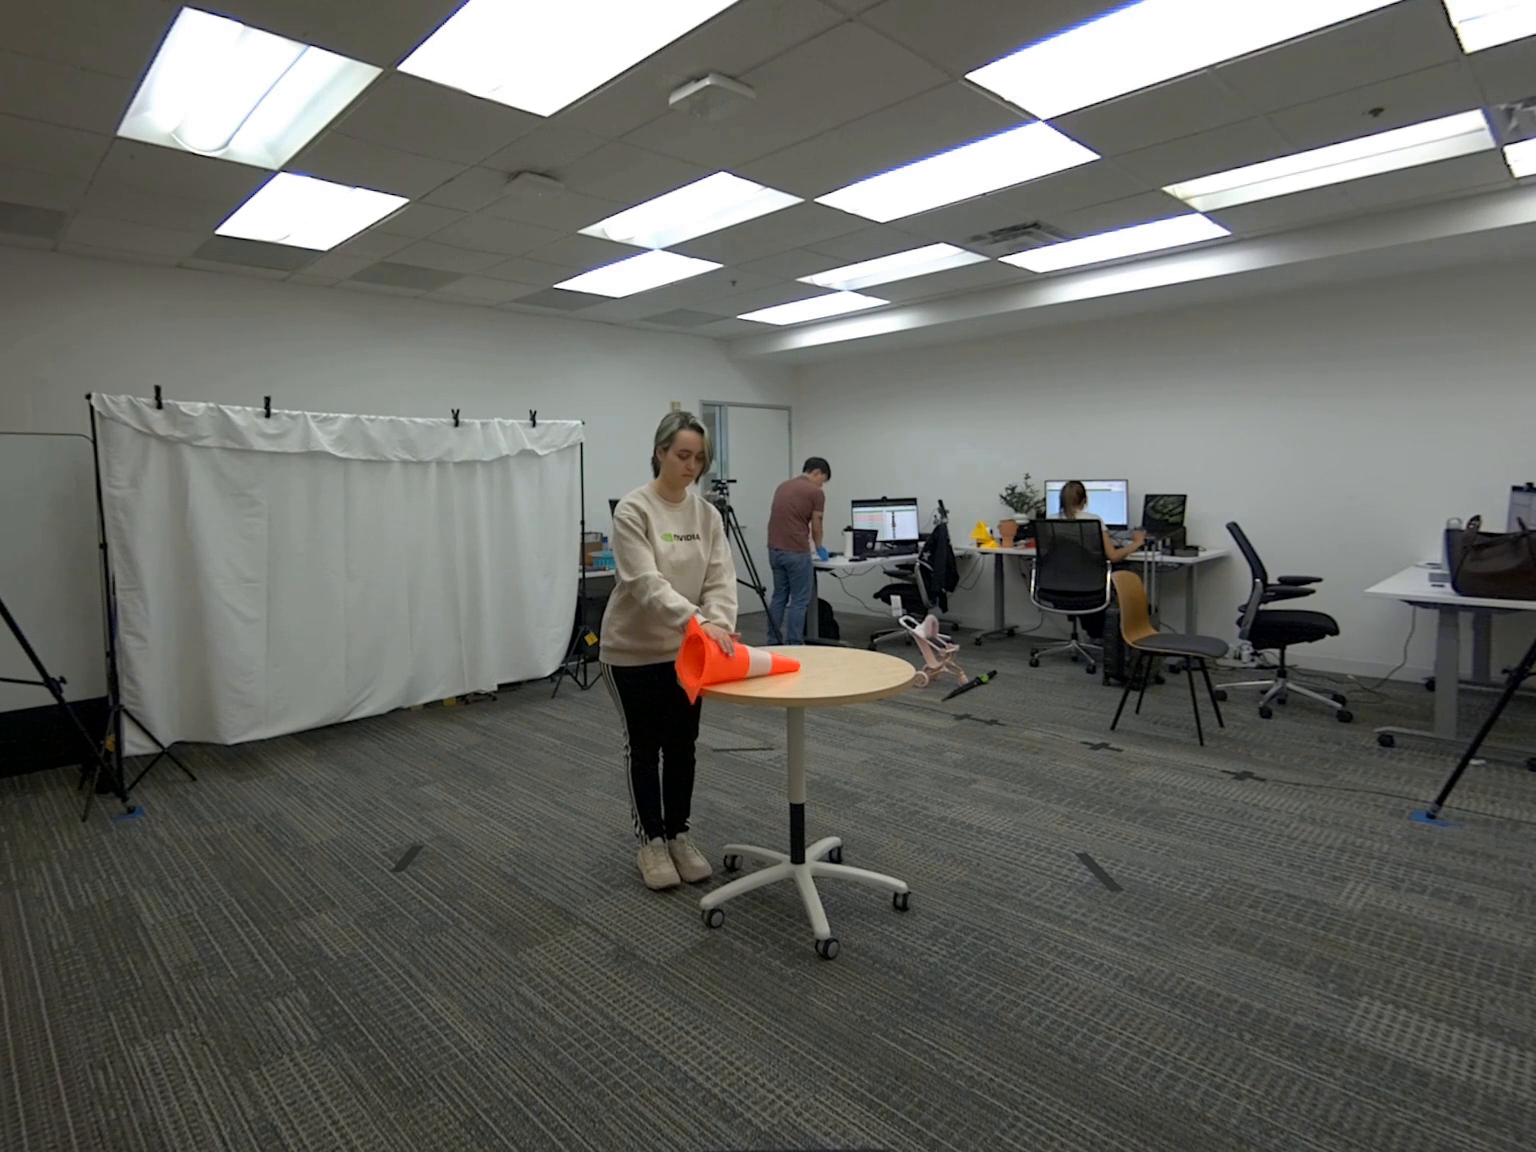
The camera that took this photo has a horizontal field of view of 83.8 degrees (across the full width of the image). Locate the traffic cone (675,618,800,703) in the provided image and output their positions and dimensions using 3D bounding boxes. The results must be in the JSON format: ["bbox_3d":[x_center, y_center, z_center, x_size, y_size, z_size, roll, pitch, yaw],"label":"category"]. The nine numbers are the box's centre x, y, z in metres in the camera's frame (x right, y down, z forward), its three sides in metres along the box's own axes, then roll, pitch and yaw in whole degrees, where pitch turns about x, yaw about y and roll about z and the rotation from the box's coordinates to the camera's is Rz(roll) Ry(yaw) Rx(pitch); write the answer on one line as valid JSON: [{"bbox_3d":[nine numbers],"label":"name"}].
[{"bbox_3d":[-0.059,0.272,2.650,0.373,0.201,0.213,9,19,-30],"label":"traffic cone"}]
